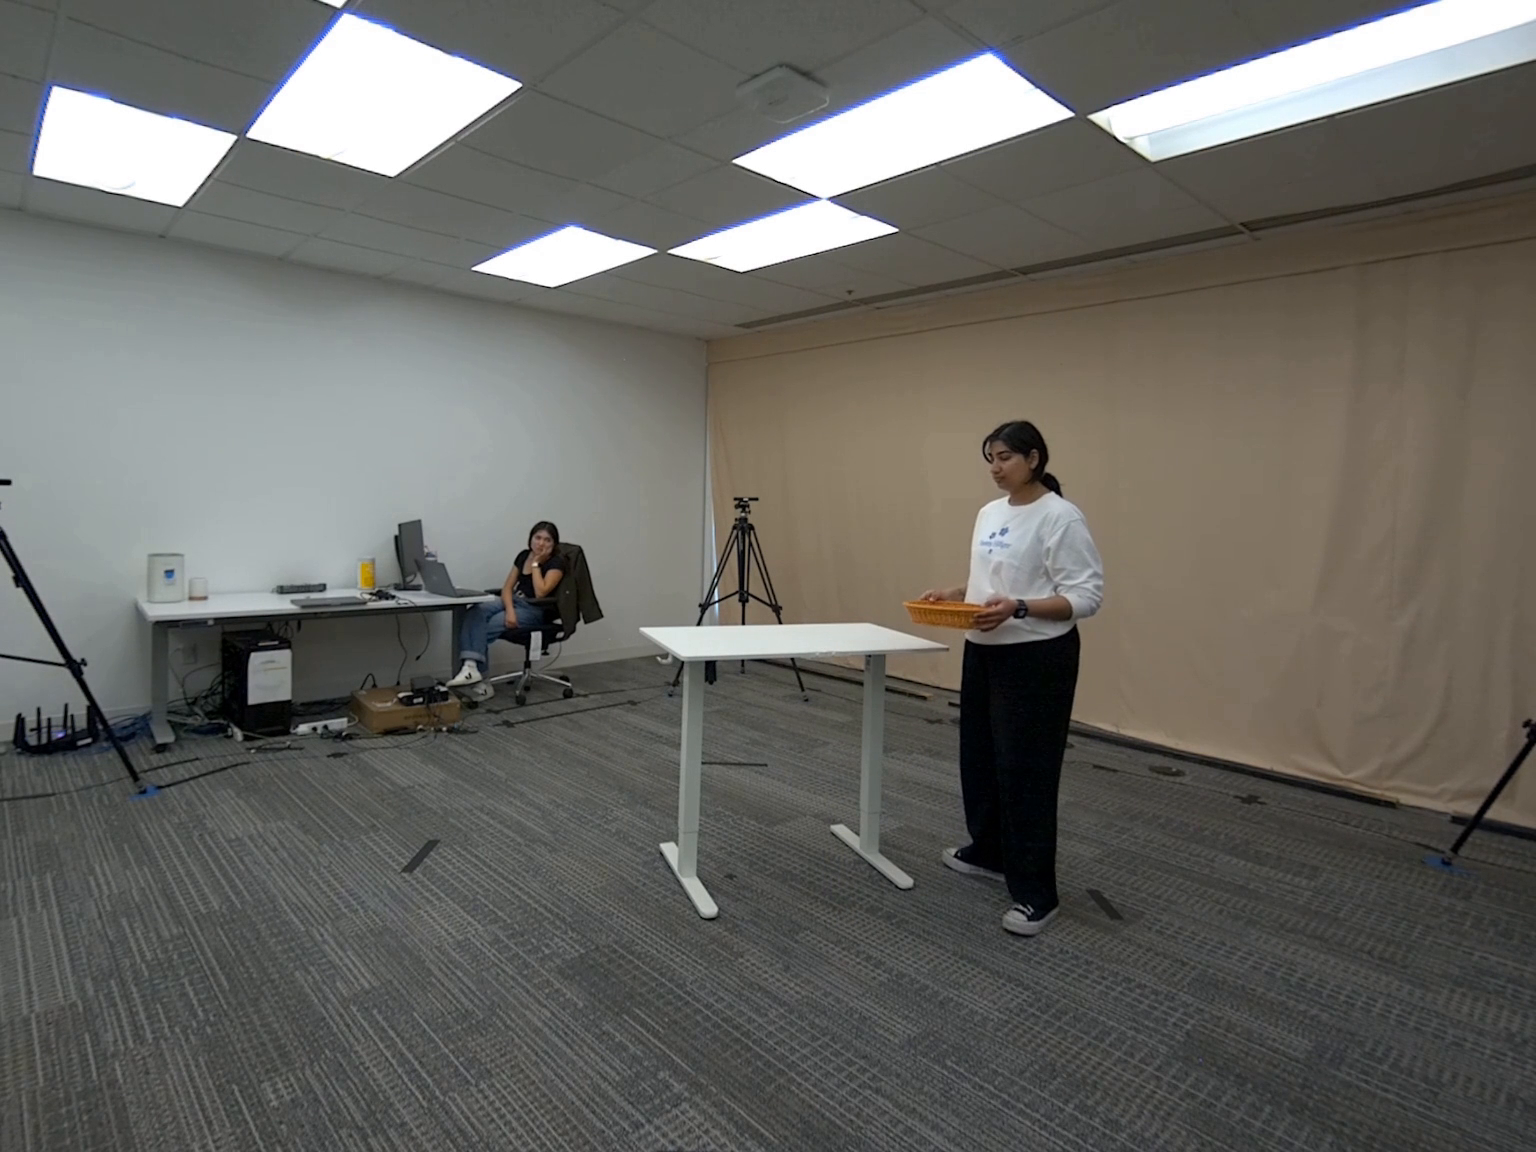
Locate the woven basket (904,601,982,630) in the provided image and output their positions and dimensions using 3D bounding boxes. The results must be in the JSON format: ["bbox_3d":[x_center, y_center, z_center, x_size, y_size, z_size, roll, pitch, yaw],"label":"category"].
[{"bbox_3d":[0.637,0.136,2.830,0.247,0.073,0.359,-3,5,-34],"label":"woven basket"}]
